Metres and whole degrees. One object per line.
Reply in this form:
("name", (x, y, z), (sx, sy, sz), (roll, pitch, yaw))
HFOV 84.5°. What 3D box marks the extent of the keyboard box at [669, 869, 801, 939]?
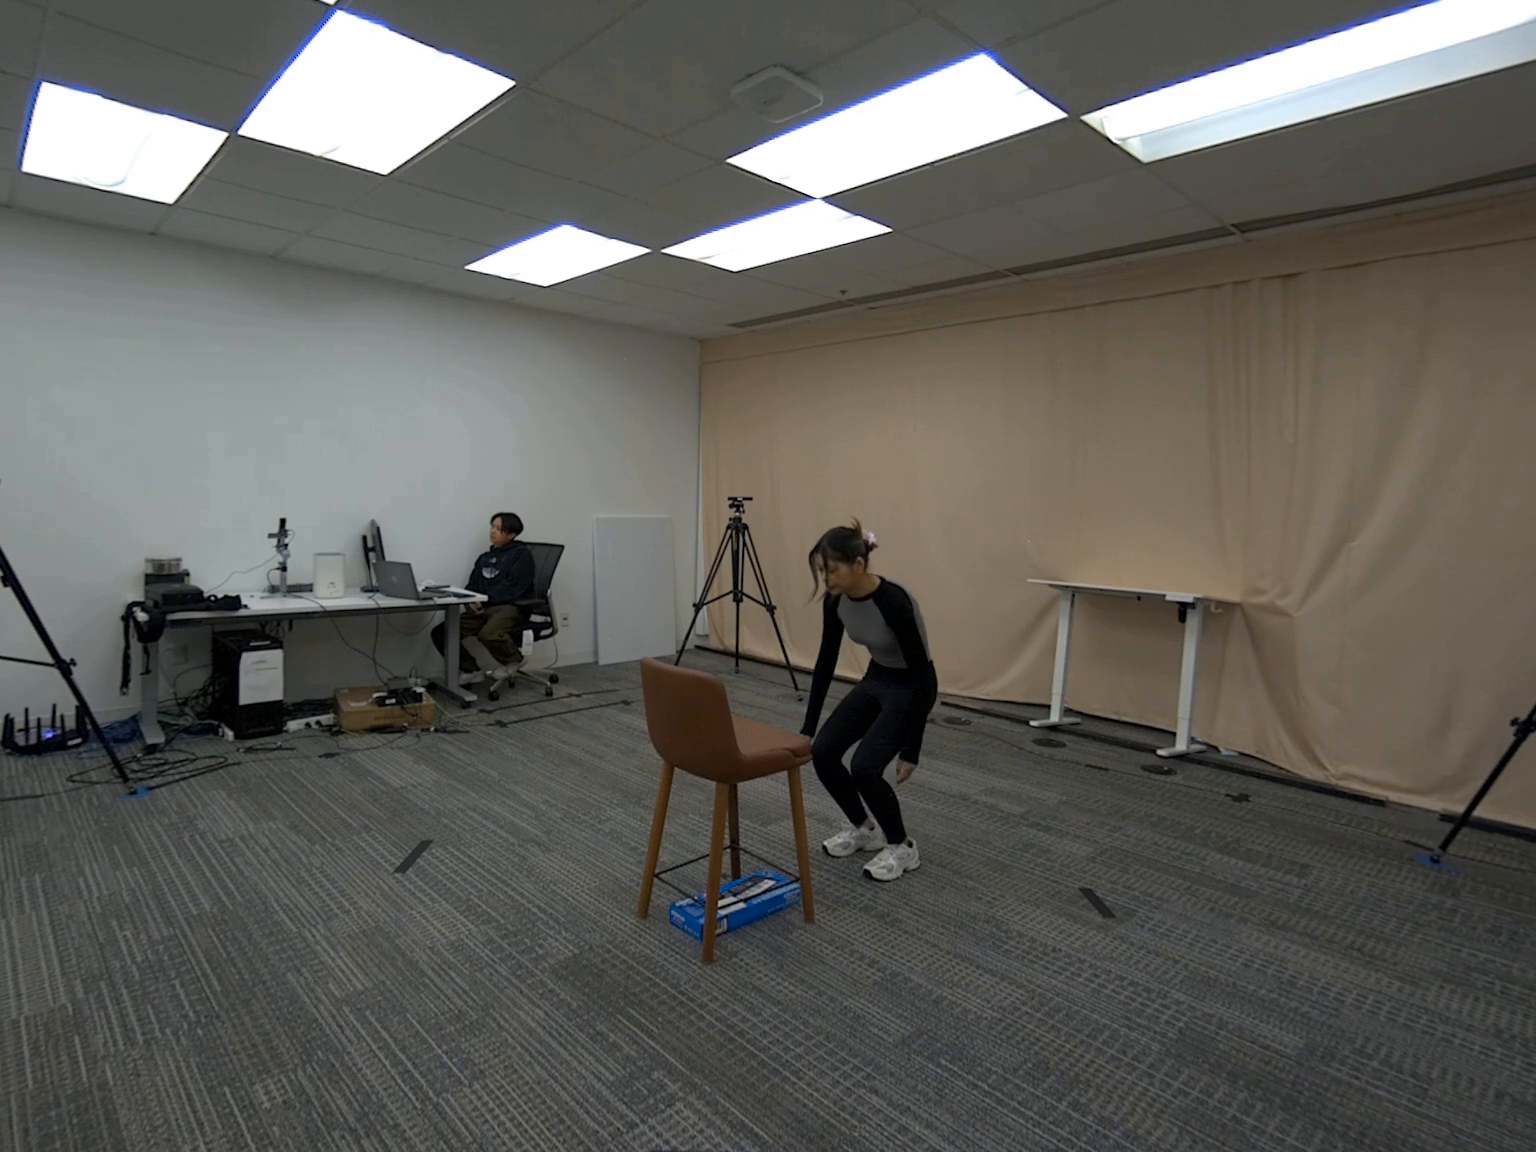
("keyboard box", (-0.108, 1.105, 2.831), (0.427, 0.059, 0.180), (-4, 8, -41))
